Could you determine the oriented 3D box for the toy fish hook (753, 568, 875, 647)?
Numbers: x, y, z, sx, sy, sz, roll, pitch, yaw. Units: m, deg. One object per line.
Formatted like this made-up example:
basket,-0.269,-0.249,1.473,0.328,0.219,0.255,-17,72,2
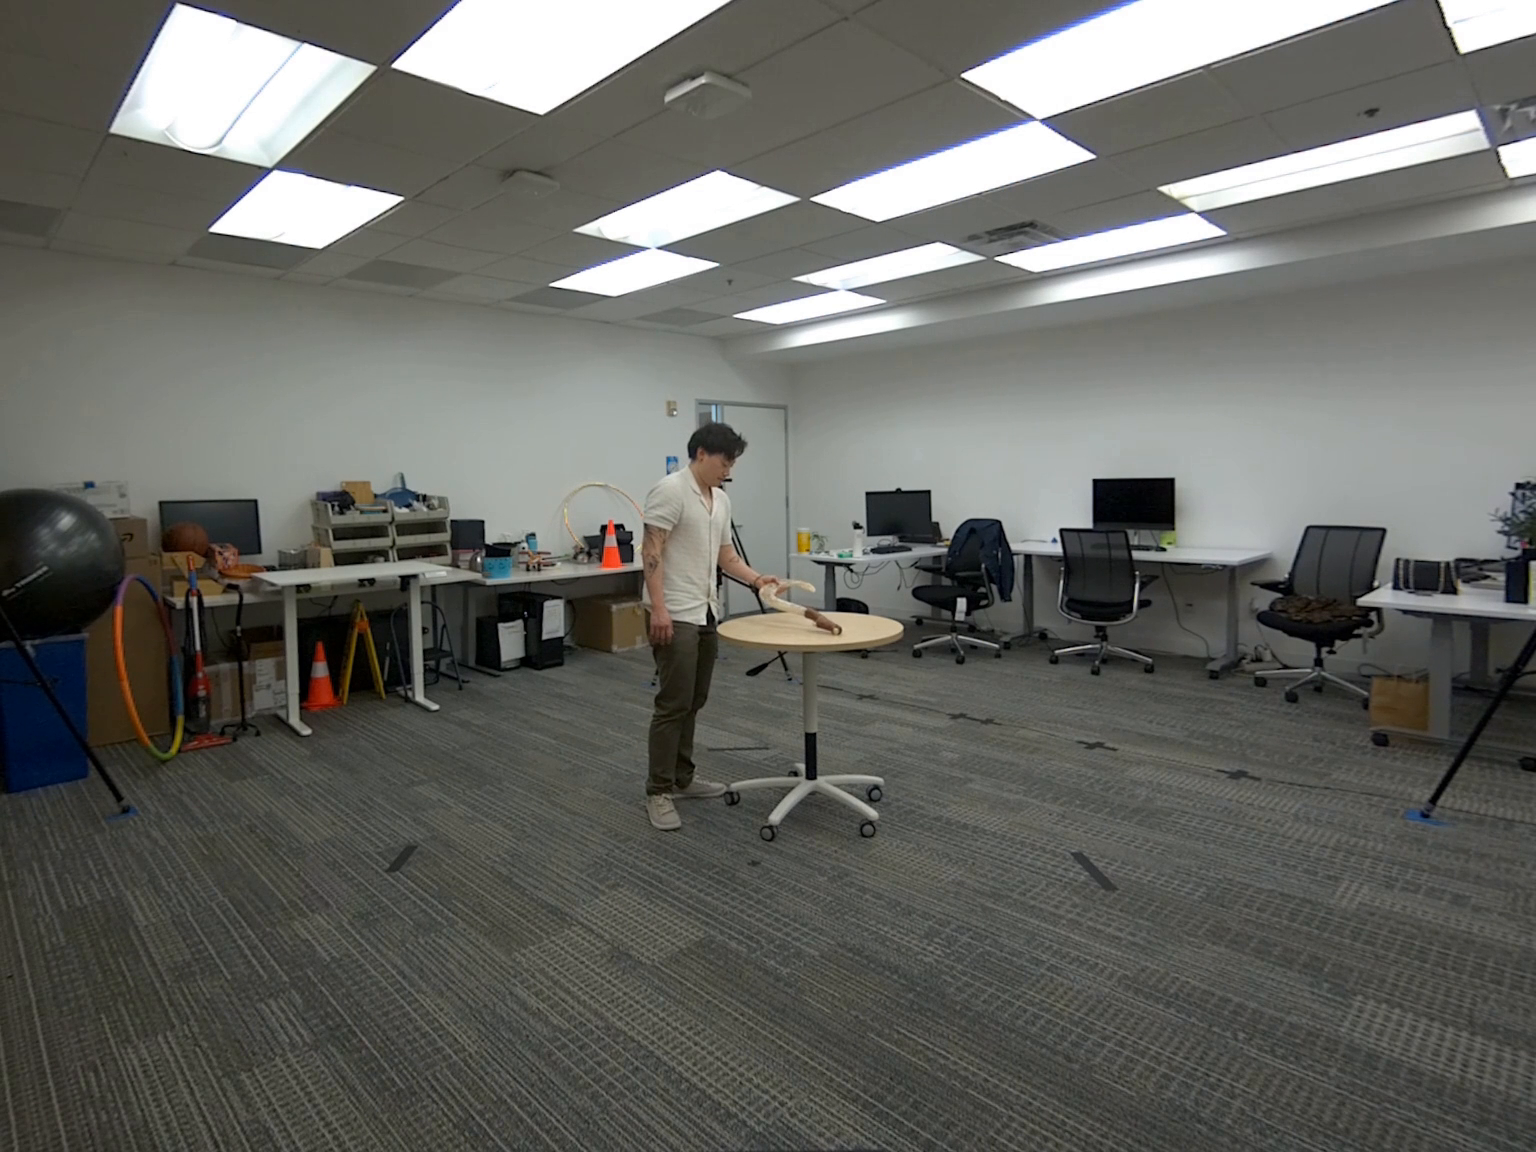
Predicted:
toy fish hook,0.178,0.119,3.547,0.222,0.047,0.526,-26,33,-25
